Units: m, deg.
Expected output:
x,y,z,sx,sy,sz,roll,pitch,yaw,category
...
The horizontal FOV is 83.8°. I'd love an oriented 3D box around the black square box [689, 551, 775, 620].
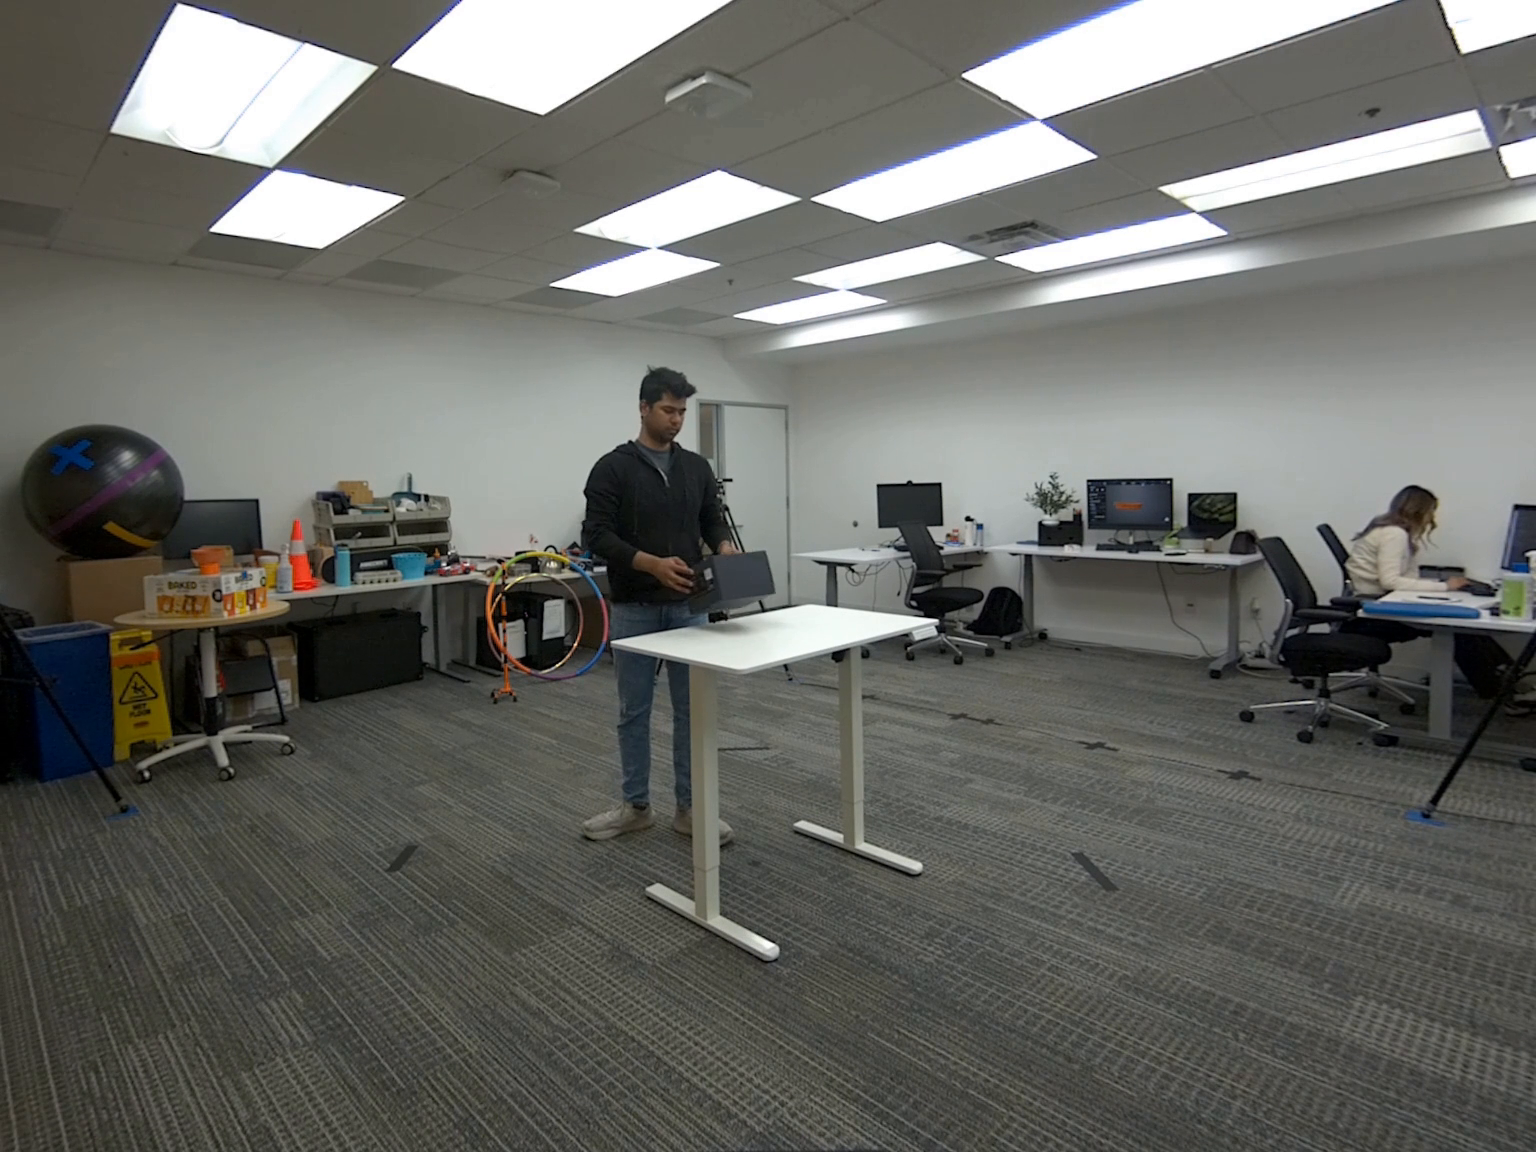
x,y,z,sx,sy,sz,roll,pitch,yaw,category
-0.150,0.030,2.959,0.222,0.158,0.219,-6,-12,-36,black square box
